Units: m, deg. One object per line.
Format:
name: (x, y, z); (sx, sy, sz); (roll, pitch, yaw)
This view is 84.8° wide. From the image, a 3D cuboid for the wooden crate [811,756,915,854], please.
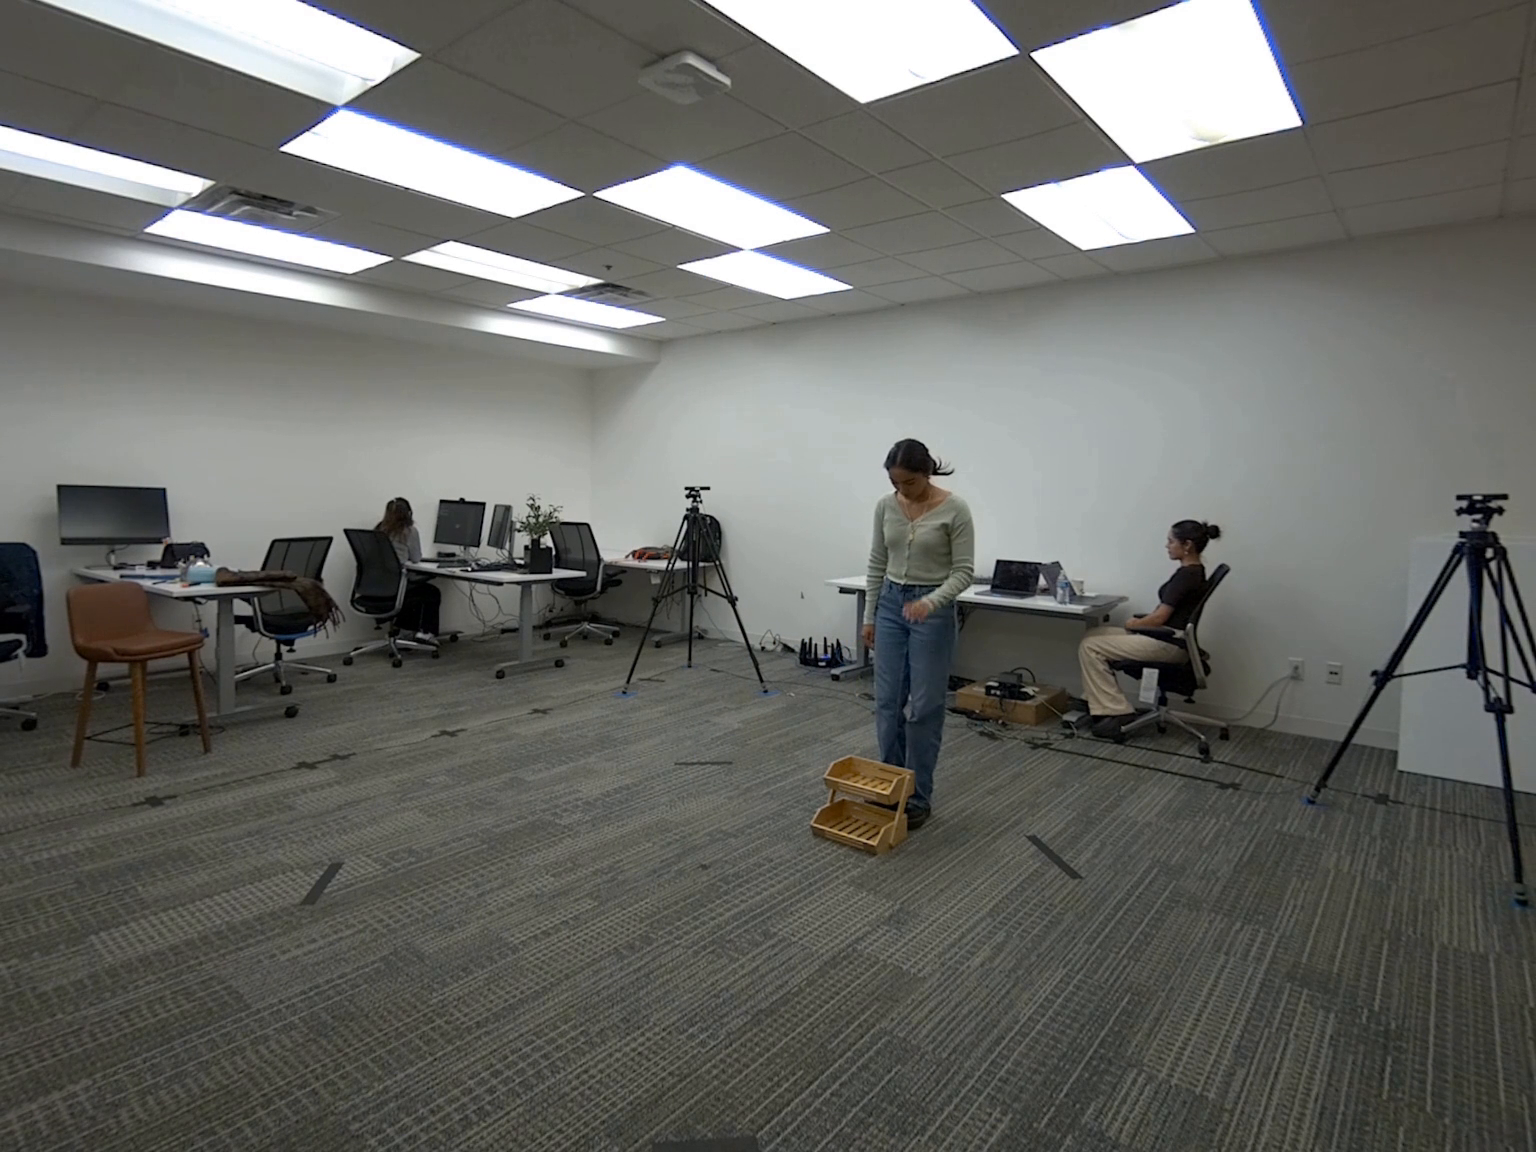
wooden crate: (0.375, 0.908, 3.431); (0.335, 0.272, 0.293); (4, 5, 38)
